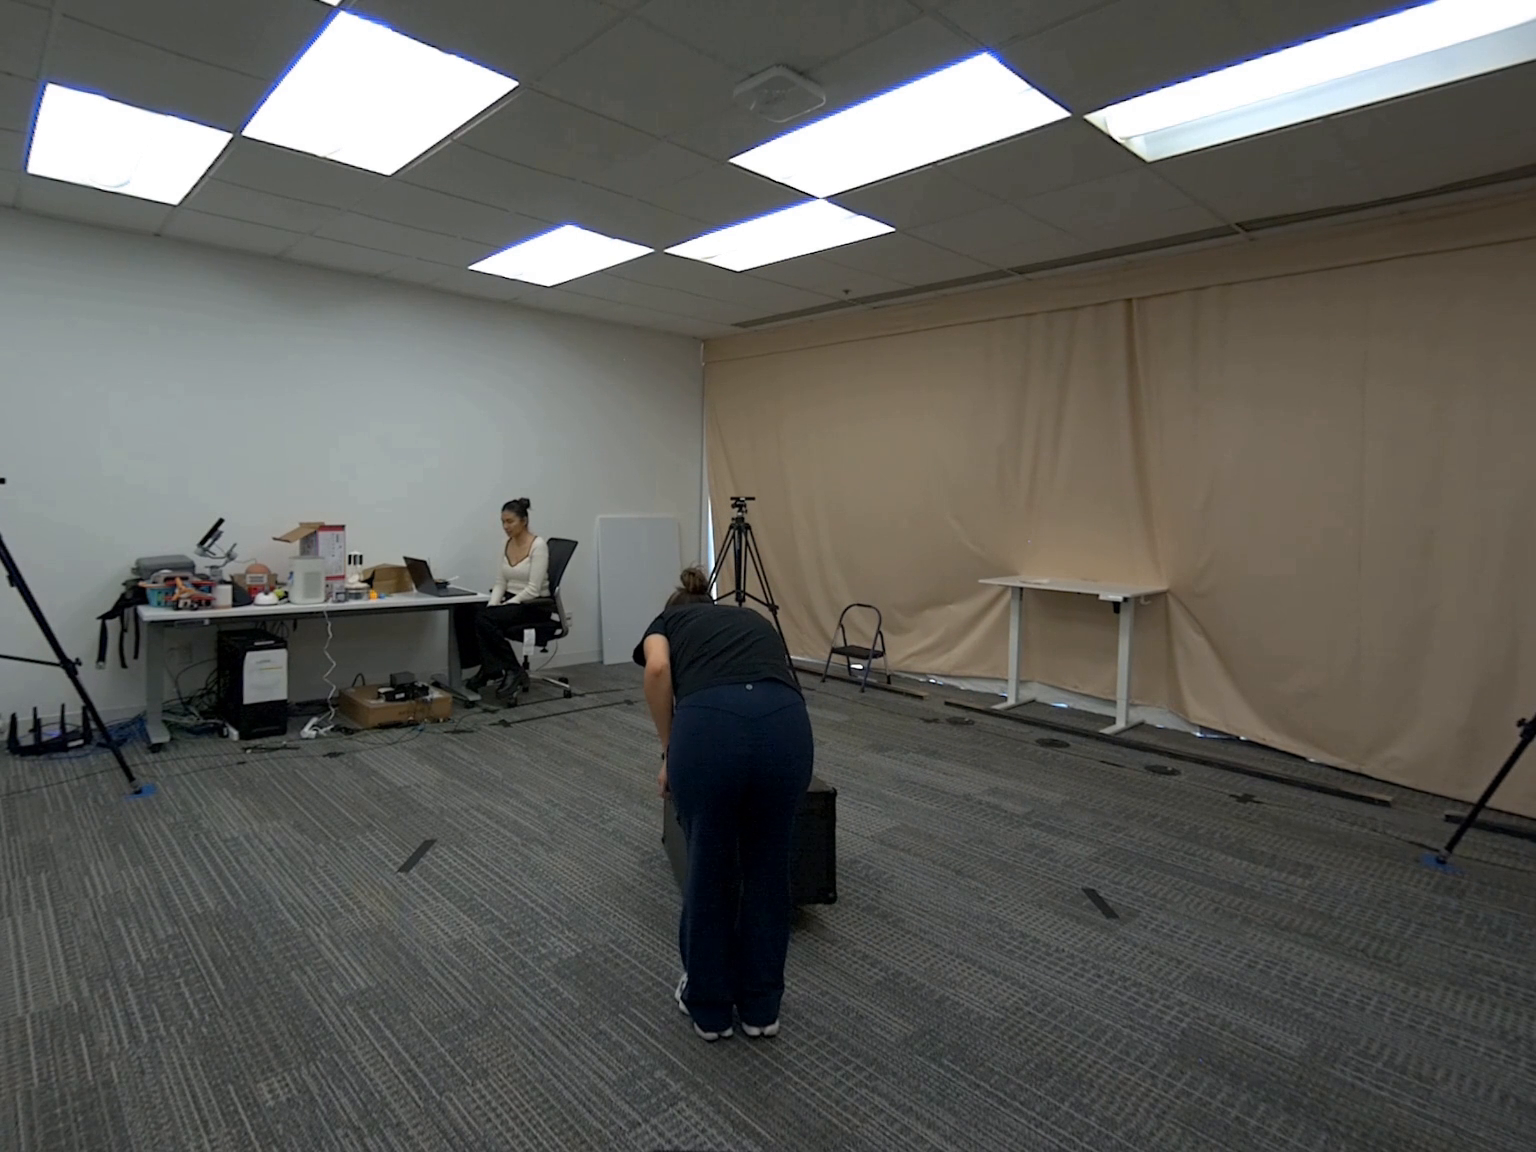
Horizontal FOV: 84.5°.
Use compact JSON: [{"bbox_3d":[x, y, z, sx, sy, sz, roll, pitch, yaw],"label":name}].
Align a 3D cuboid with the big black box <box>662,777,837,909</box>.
[{"bbox_3d":[-0.104,0.891,3.042,0.516,0.397,0.868,0,-2,-13],"label":"big black box"}]
